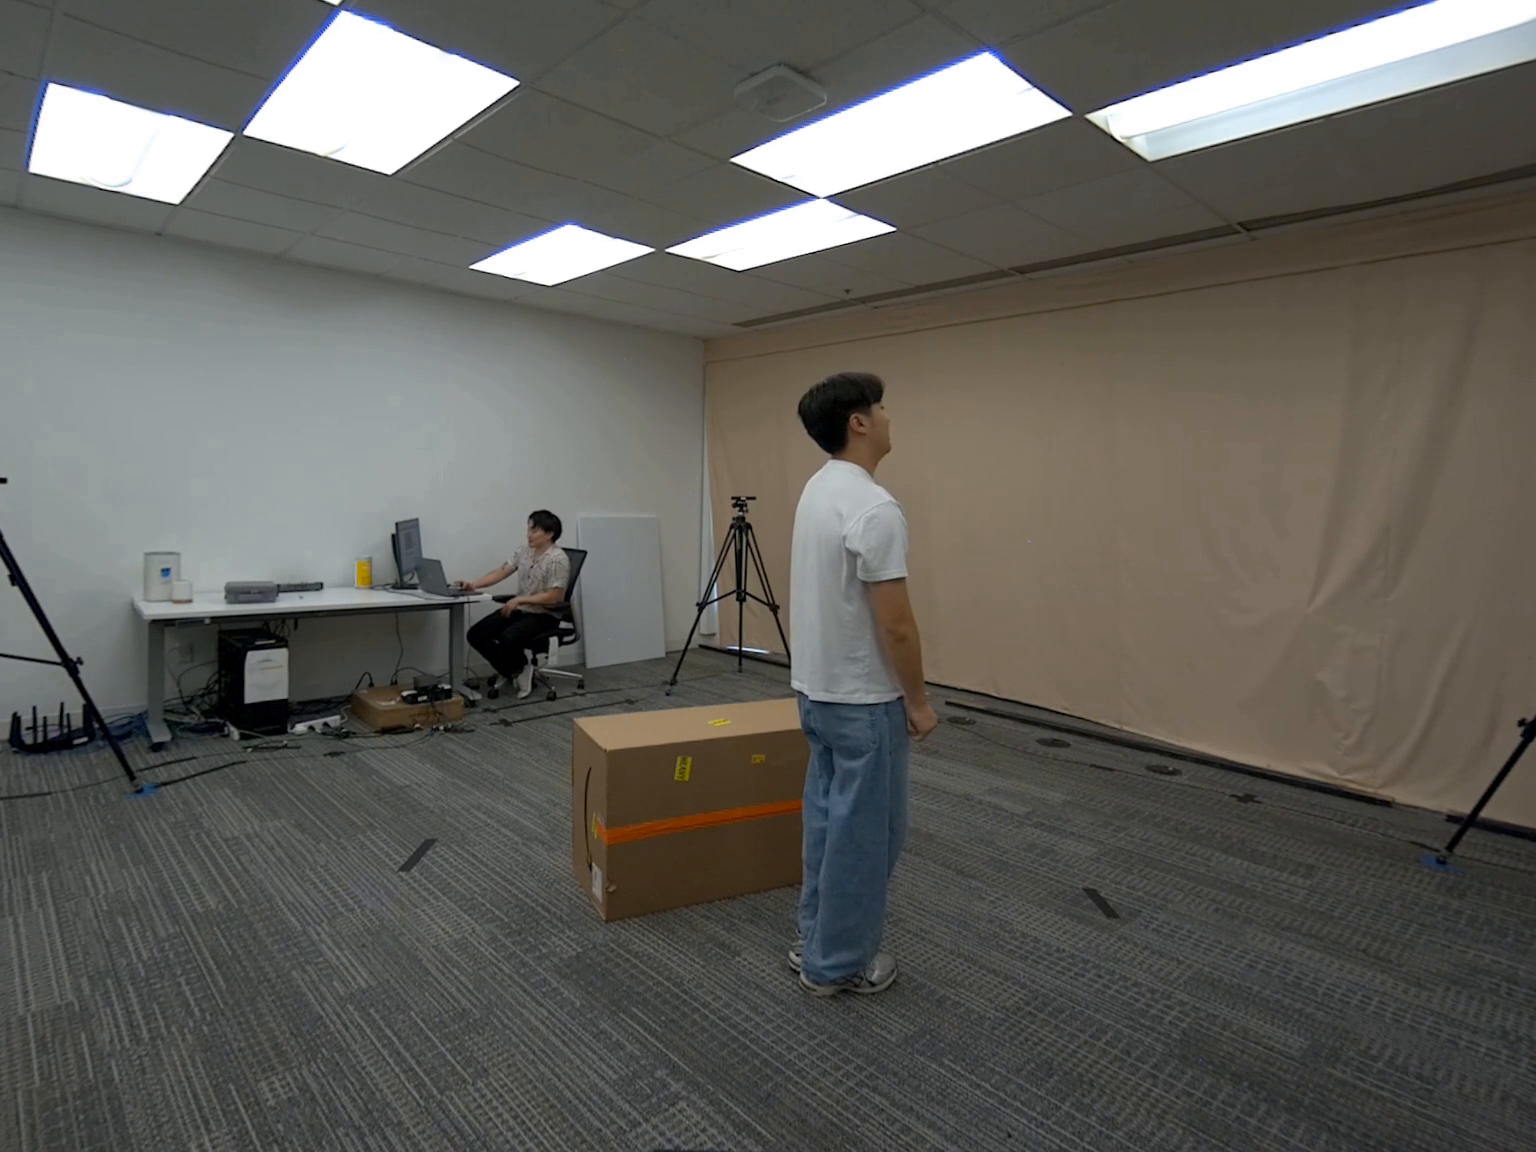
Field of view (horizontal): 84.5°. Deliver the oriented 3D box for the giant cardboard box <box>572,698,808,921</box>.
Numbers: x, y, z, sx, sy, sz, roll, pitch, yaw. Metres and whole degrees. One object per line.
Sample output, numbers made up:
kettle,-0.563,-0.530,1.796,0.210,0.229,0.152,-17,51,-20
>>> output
giant cardboard box,-0.174,0.816,3.122,1.007,0.576,0.435,-1,4,-26
